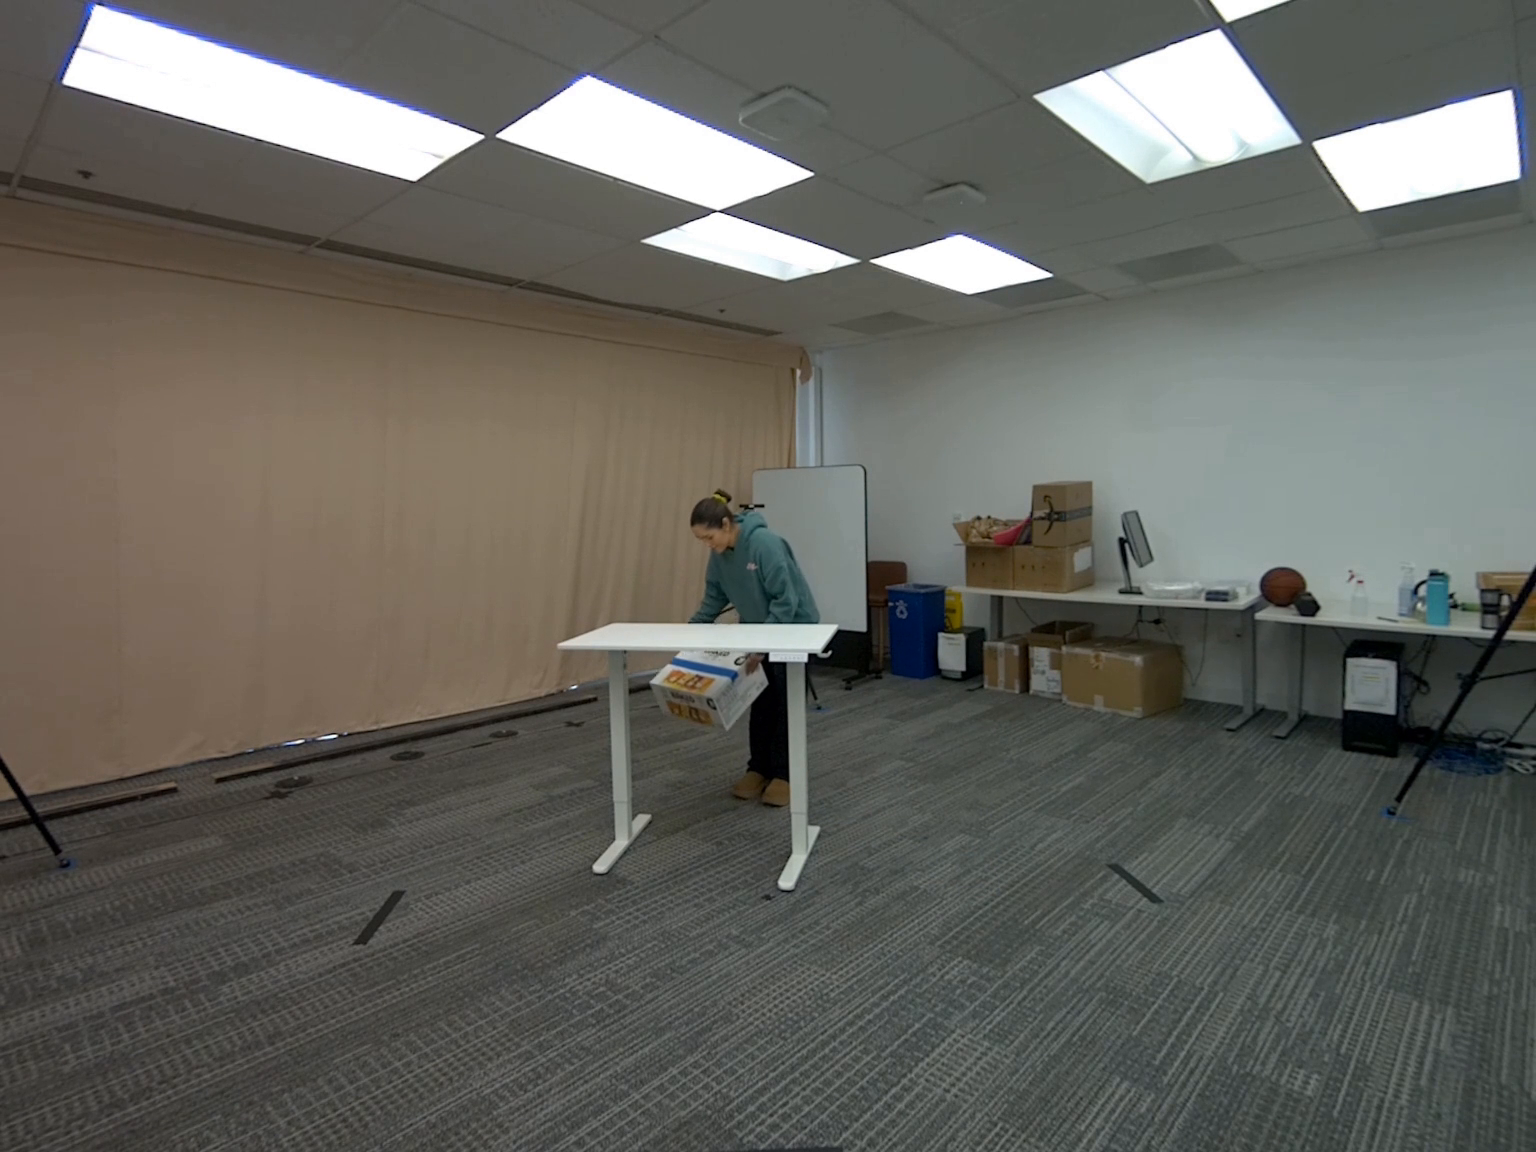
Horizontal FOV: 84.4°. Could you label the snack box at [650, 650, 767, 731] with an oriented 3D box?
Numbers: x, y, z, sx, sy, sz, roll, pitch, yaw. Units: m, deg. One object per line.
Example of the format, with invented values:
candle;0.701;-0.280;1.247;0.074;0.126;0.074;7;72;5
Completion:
snack box;-0.273;0.504;3.949;0.419;0.201;0.337;6;37;40
